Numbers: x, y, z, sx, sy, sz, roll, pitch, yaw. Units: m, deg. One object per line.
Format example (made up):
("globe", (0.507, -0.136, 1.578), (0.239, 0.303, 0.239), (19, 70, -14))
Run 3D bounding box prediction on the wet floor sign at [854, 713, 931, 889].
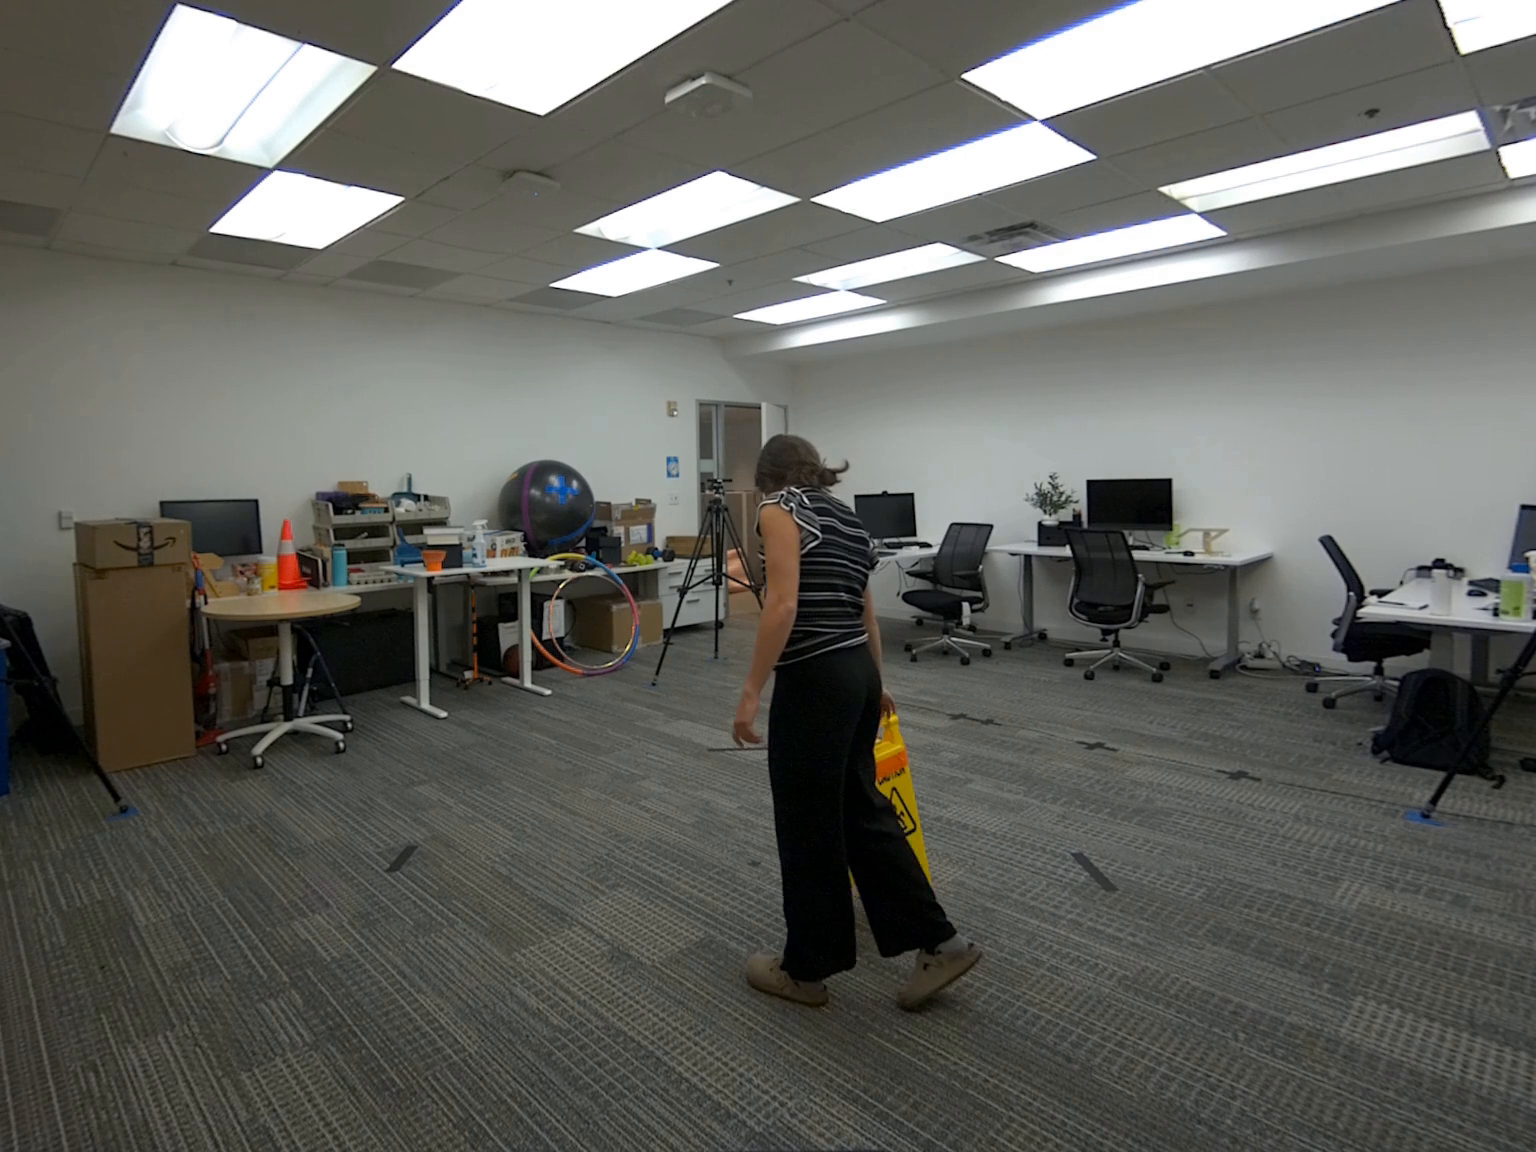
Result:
("wet floor sign", (0.357, 0.762, 2.682), (0.299, 0.643, 0.275), (4, 7, 41))
